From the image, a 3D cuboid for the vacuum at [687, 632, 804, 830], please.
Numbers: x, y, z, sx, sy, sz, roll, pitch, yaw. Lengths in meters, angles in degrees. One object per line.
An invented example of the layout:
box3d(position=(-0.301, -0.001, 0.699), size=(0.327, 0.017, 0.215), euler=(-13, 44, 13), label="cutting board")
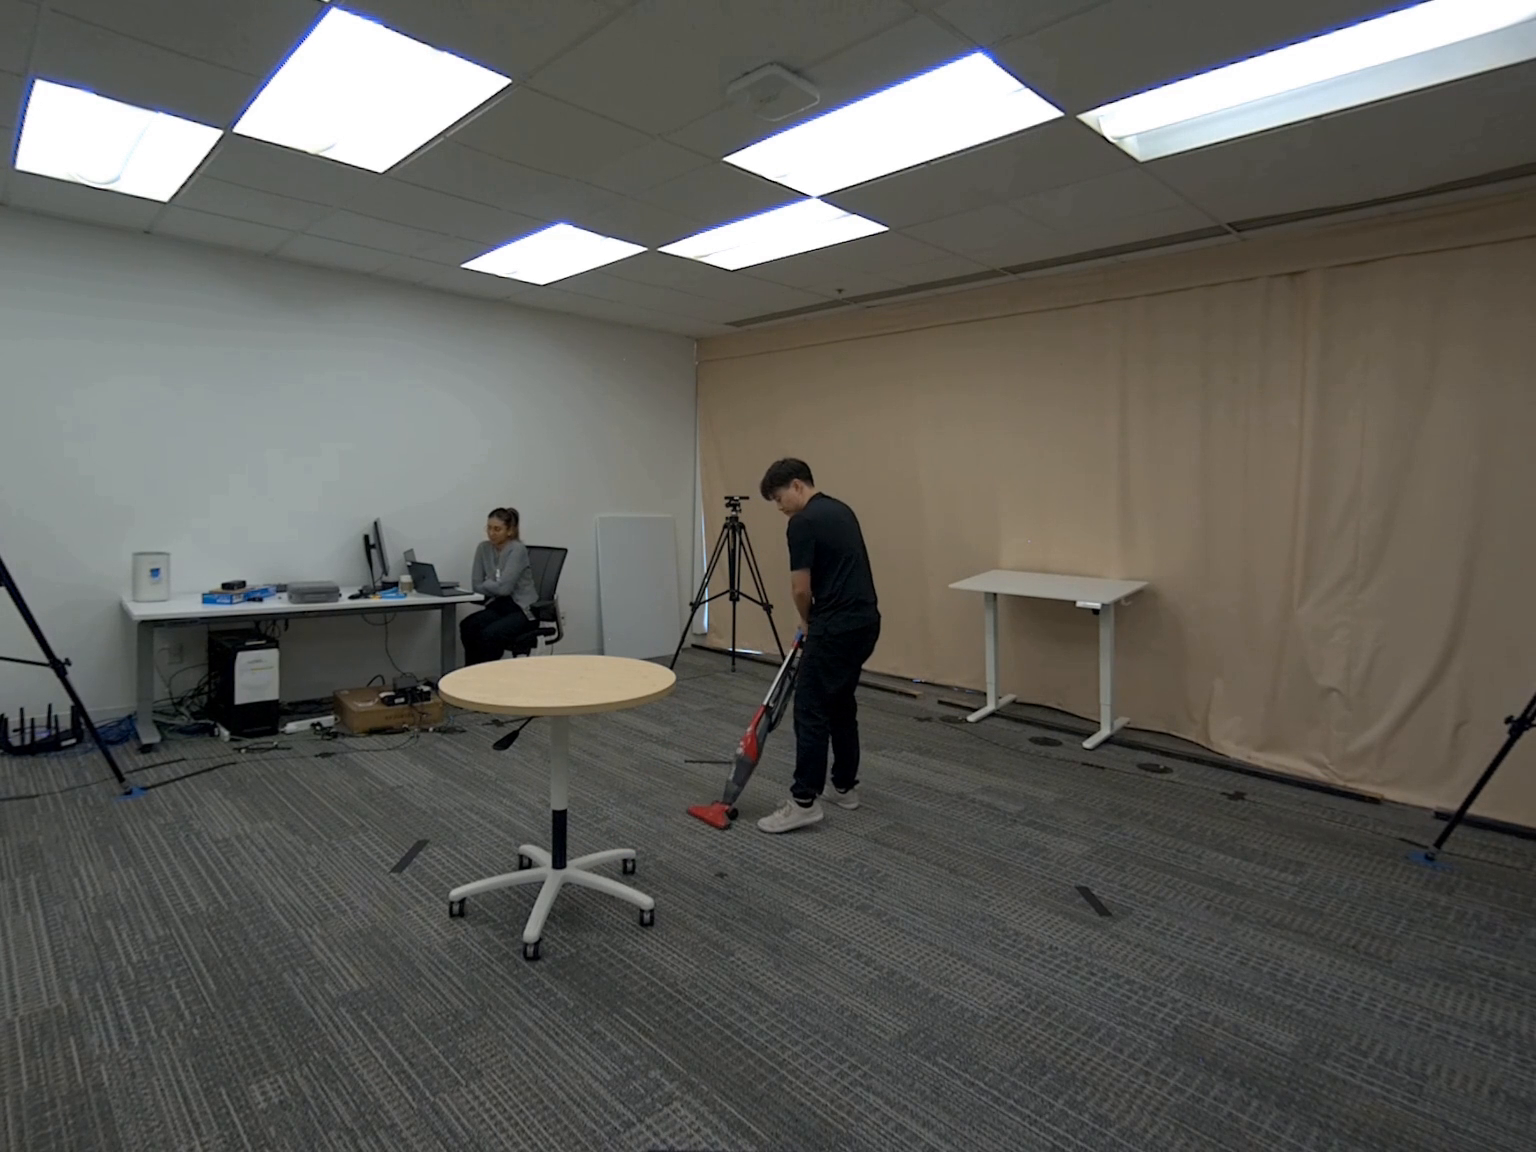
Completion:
box3d(position=(-0.011, 0.621, 3.829), size=(0.259, 1.054, 0.140), euler=(5, -32, 48), label="vacuum")
